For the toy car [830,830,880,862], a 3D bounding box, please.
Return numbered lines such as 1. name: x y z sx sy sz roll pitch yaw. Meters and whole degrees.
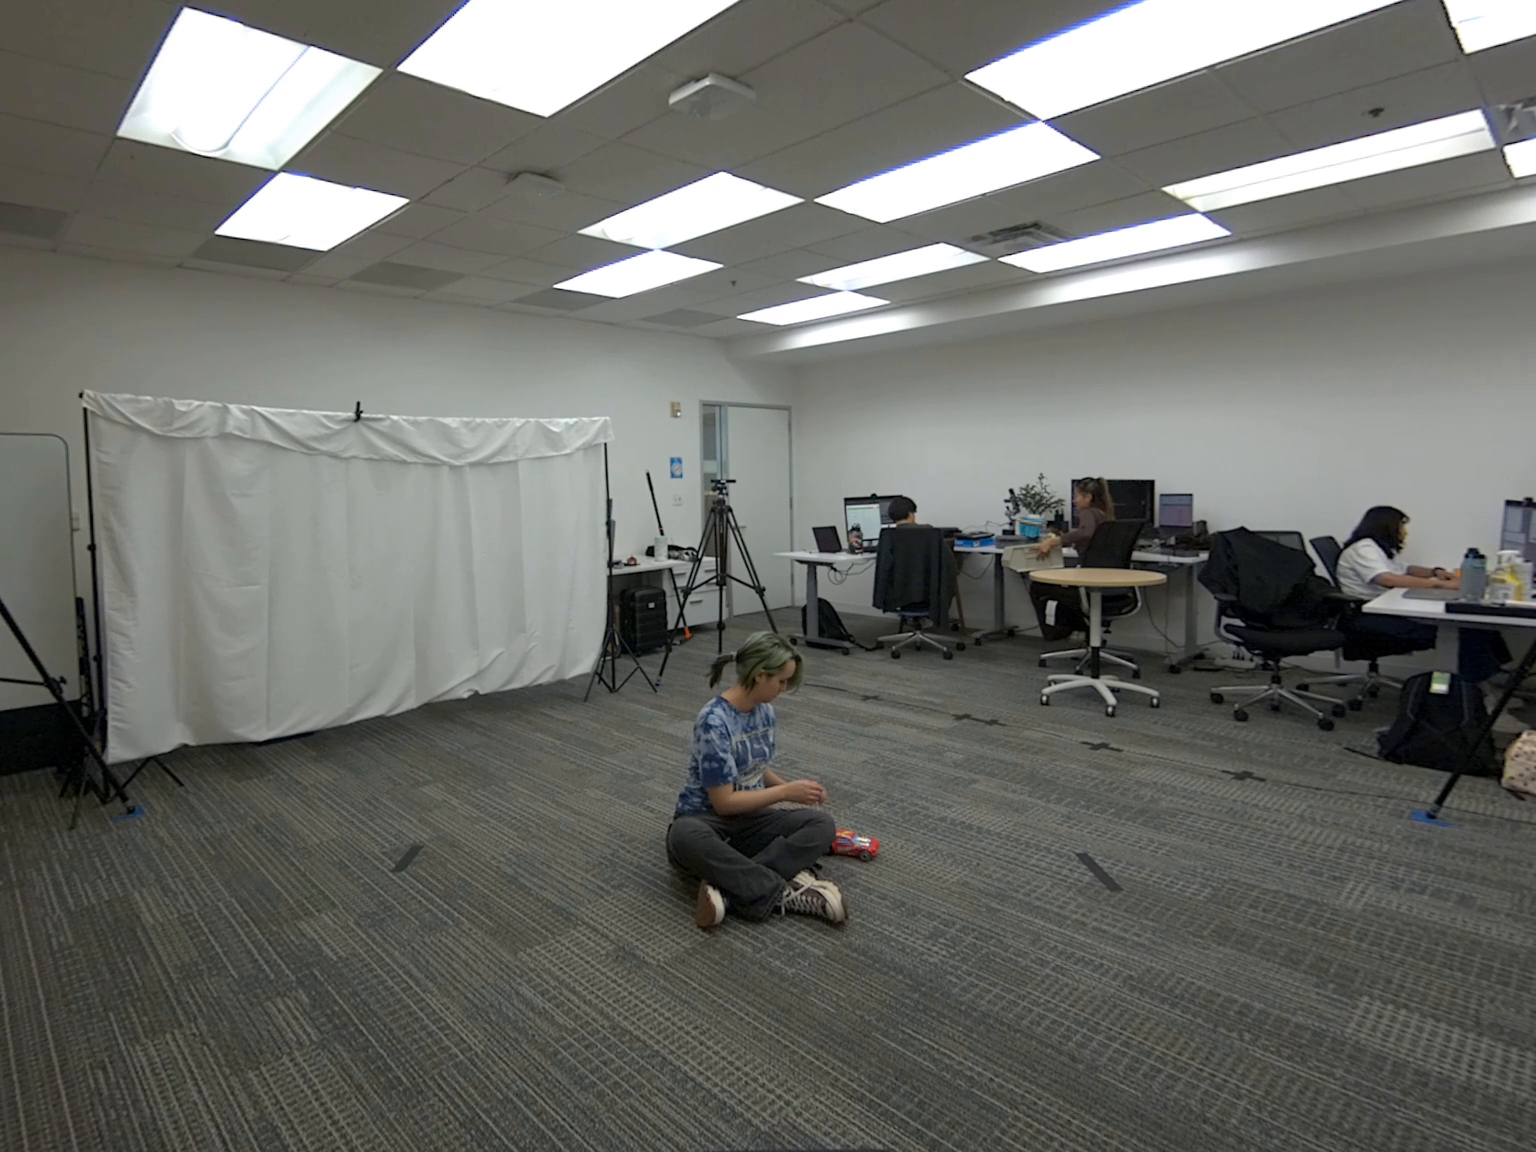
1. toy car: 0.282 0.993 3.194 0.261 0.083 0.128 13 10 22
